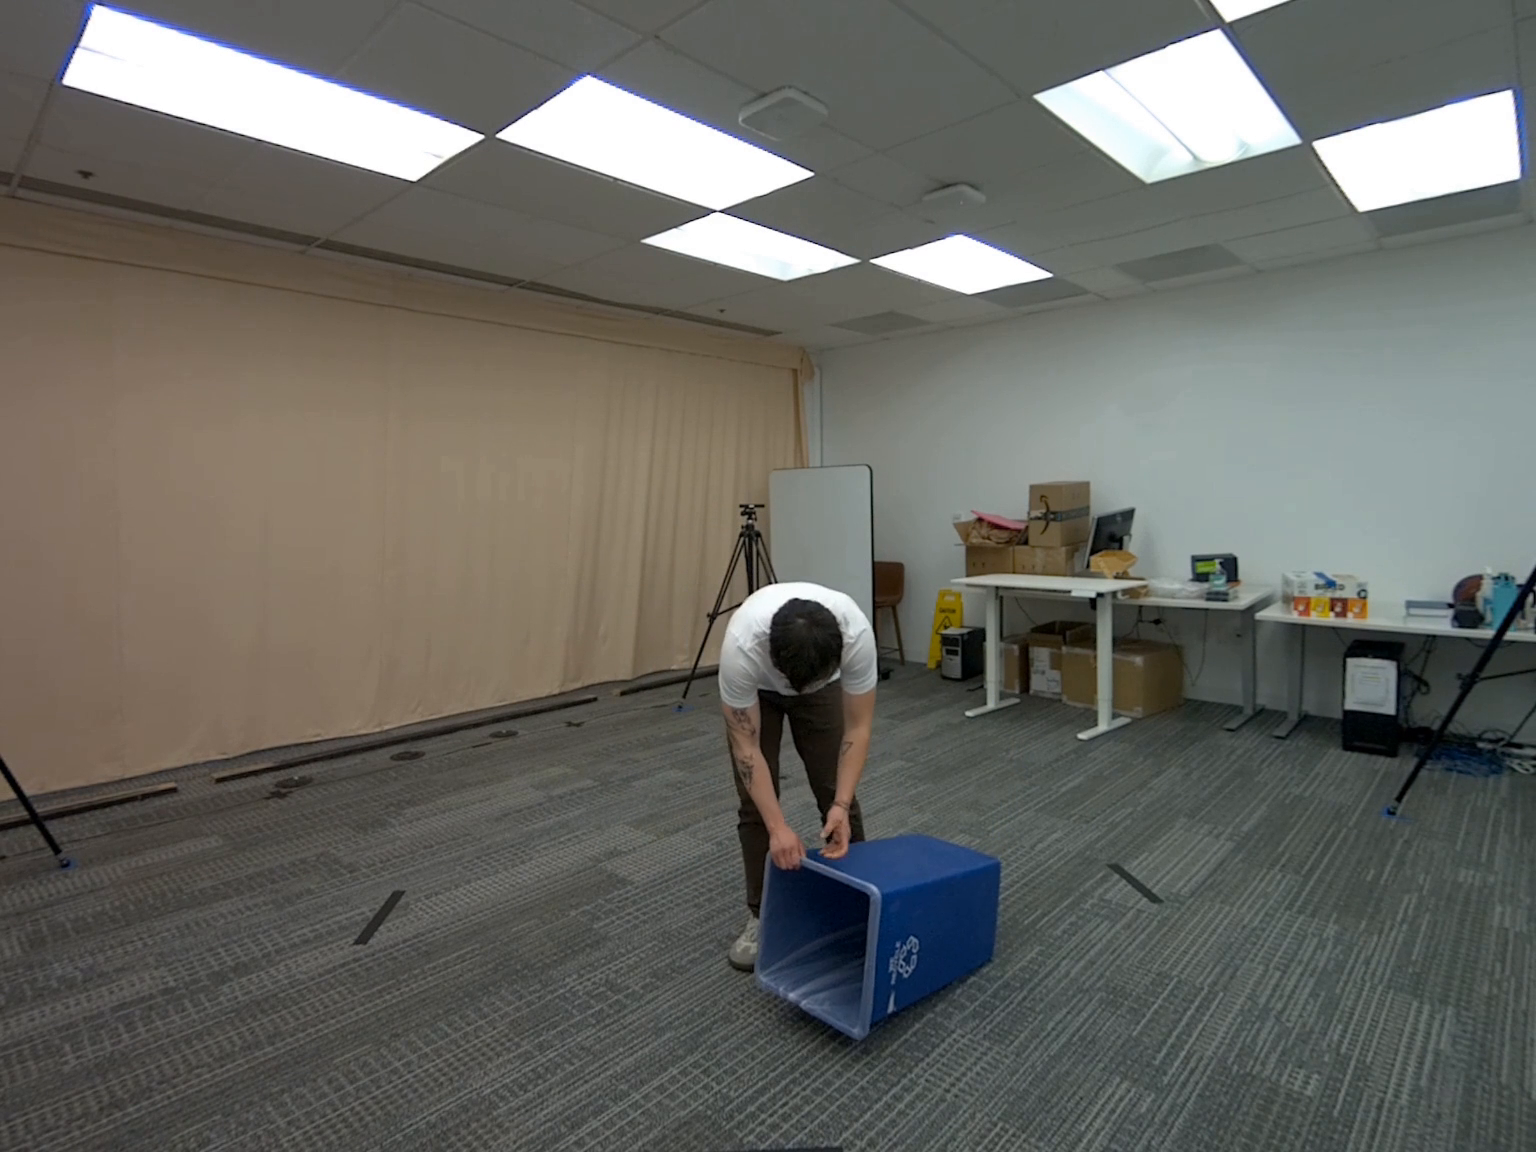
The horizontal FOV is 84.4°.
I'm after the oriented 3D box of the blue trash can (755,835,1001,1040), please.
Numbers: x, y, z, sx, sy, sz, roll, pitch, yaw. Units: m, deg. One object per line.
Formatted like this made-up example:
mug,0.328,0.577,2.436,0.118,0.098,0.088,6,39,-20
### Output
blue trash can,0.362,0.969,2.430,0.386,0.378,0.689,3,-3,43
